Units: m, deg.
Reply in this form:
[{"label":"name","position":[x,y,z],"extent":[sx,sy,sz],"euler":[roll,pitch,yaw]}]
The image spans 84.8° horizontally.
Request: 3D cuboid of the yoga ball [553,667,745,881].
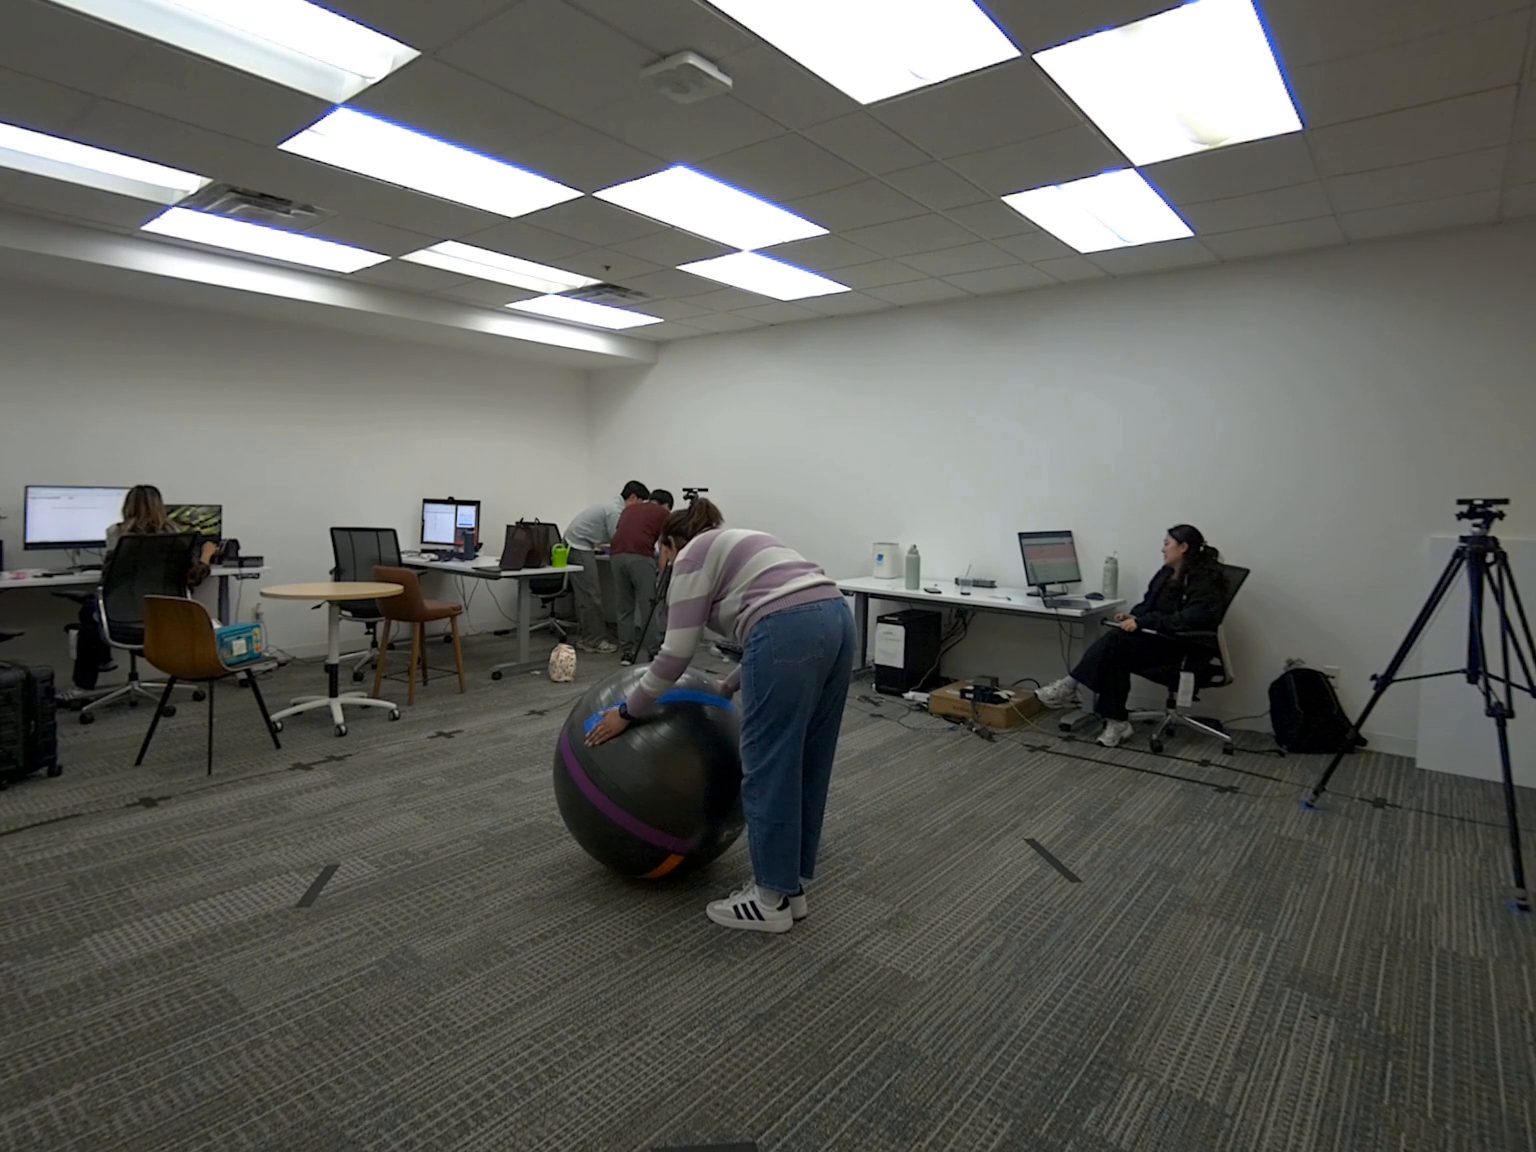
[{"label":"yoga ball","position":[-0.405,0.707,3.111],"extent":[0.757,0.755,0.762],"euler":[1,4,-2]}]
